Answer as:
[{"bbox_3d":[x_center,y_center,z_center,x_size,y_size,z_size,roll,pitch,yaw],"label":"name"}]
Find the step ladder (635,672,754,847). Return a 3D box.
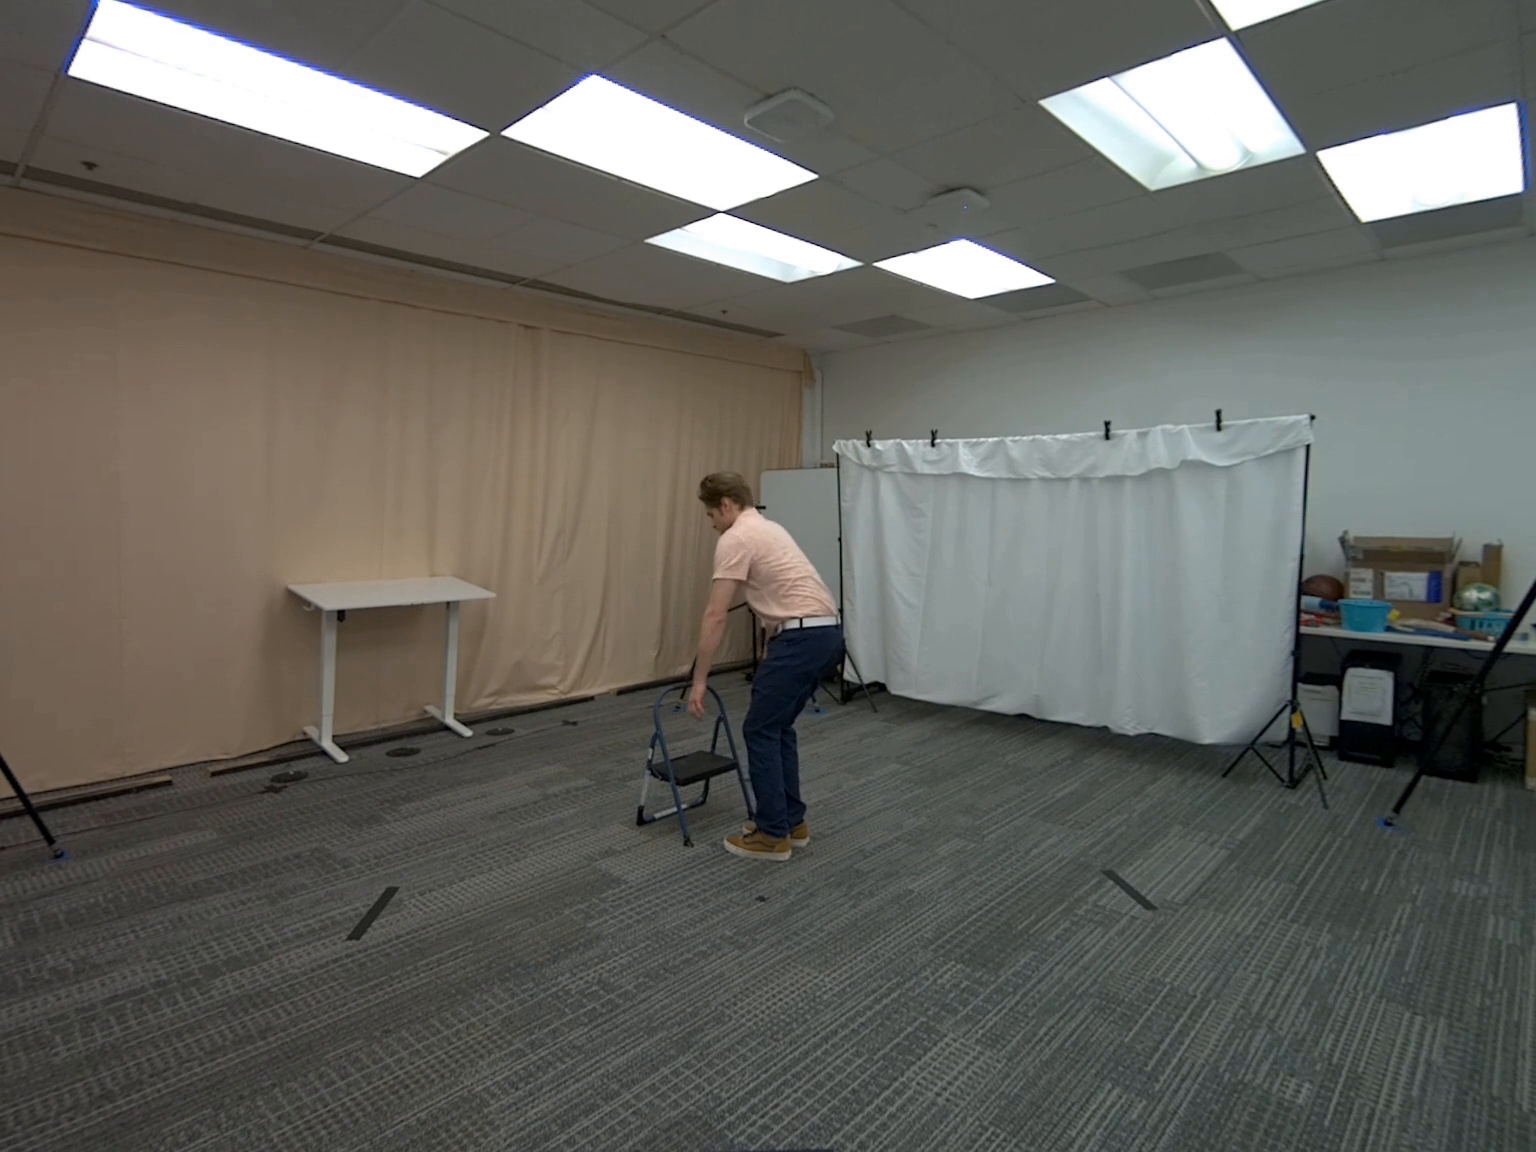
[{"bbox_3d":[-0.320,0.784,3.699,0.361,0.605,0.417,2,3,43],"label":"step ladder"}]
